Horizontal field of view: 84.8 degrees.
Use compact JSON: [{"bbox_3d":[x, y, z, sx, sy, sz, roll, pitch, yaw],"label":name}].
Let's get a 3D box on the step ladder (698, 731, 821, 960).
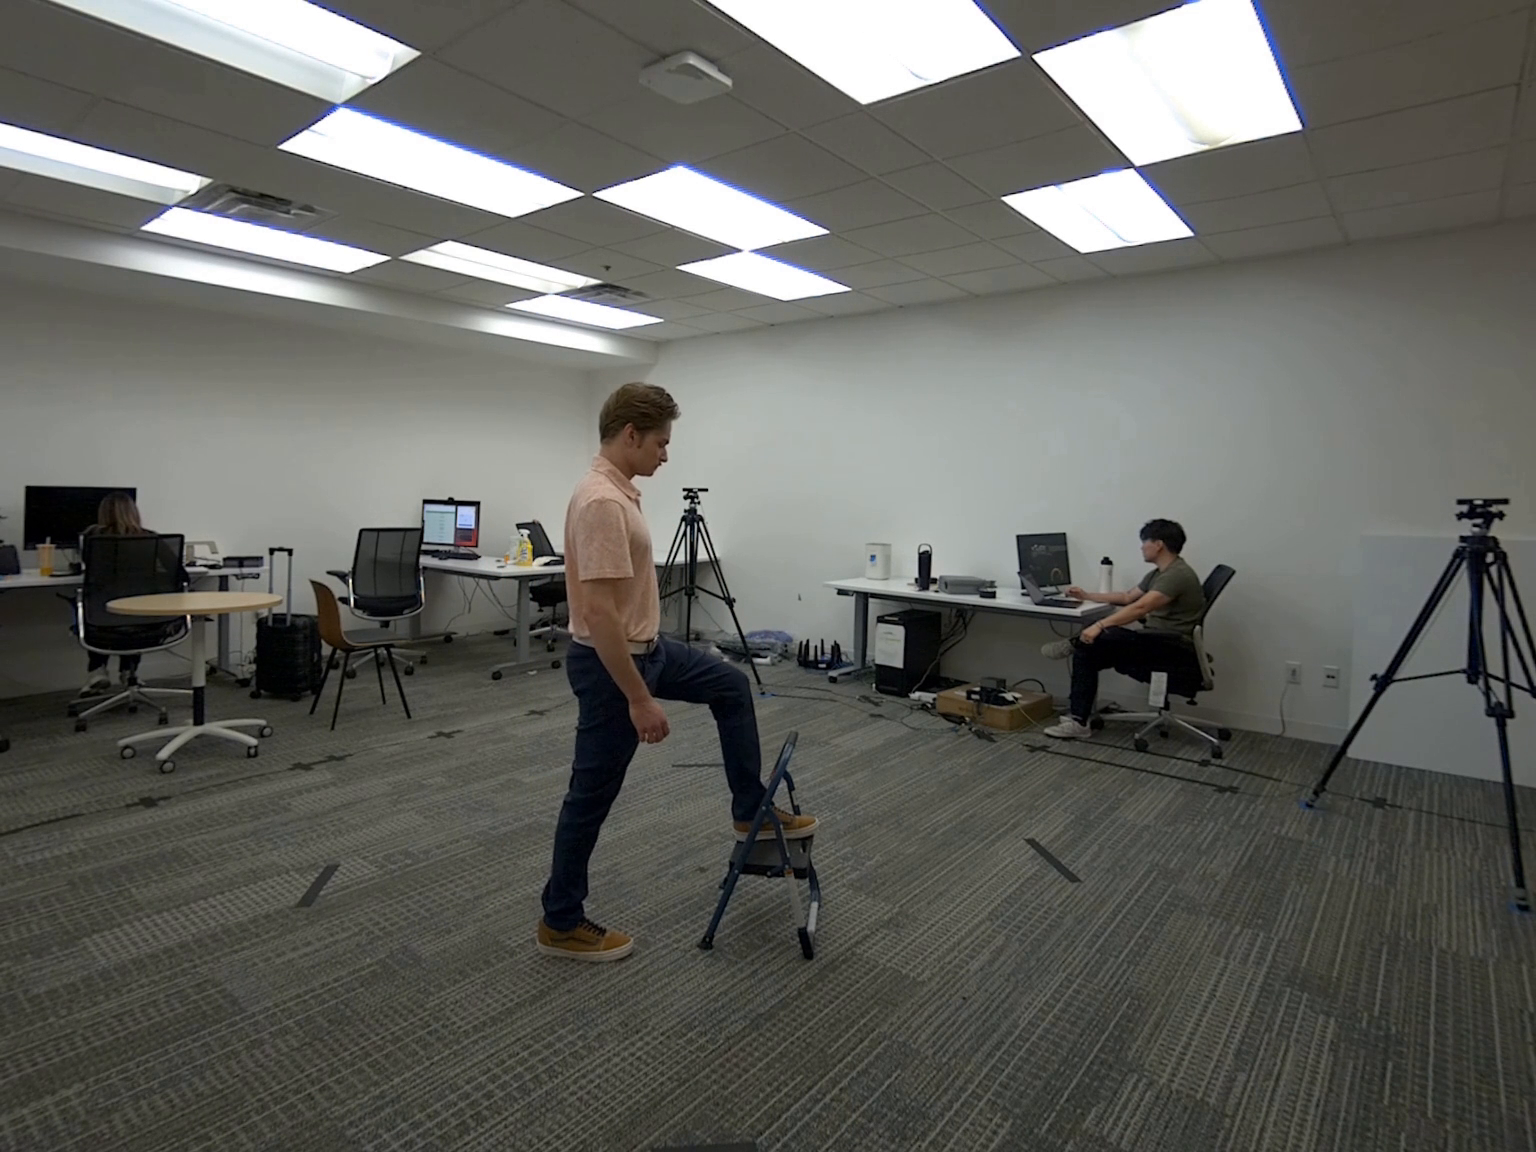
[{"bbox_3d":[-0.012,0.809,2.731,0.353,0.604,0.428,2,4,7],"label":"step ladder"}]
